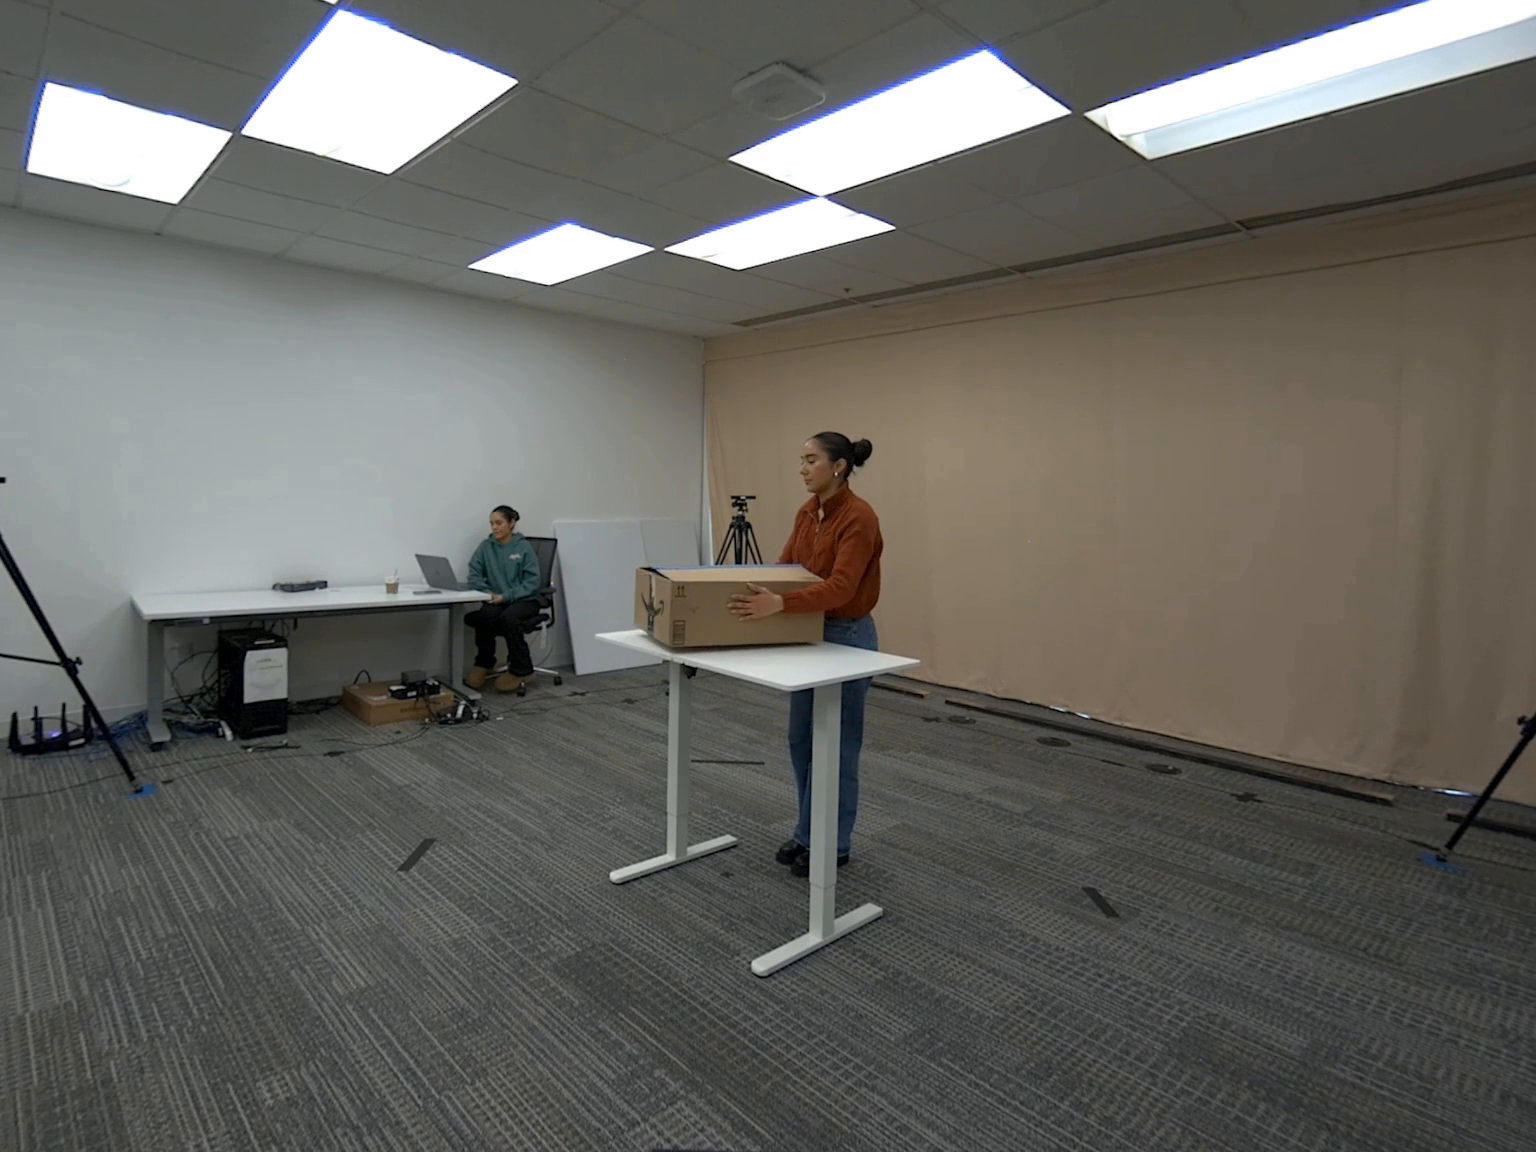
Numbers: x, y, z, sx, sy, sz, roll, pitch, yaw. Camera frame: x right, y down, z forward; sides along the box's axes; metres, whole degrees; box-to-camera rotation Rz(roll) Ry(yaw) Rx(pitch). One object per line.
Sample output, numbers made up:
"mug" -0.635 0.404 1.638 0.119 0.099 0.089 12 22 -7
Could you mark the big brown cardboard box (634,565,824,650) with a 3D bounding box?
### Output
"big brown cardboard box" -0.149 0.095 2.996 0.579 0.232 0.426 -1 6 -24
